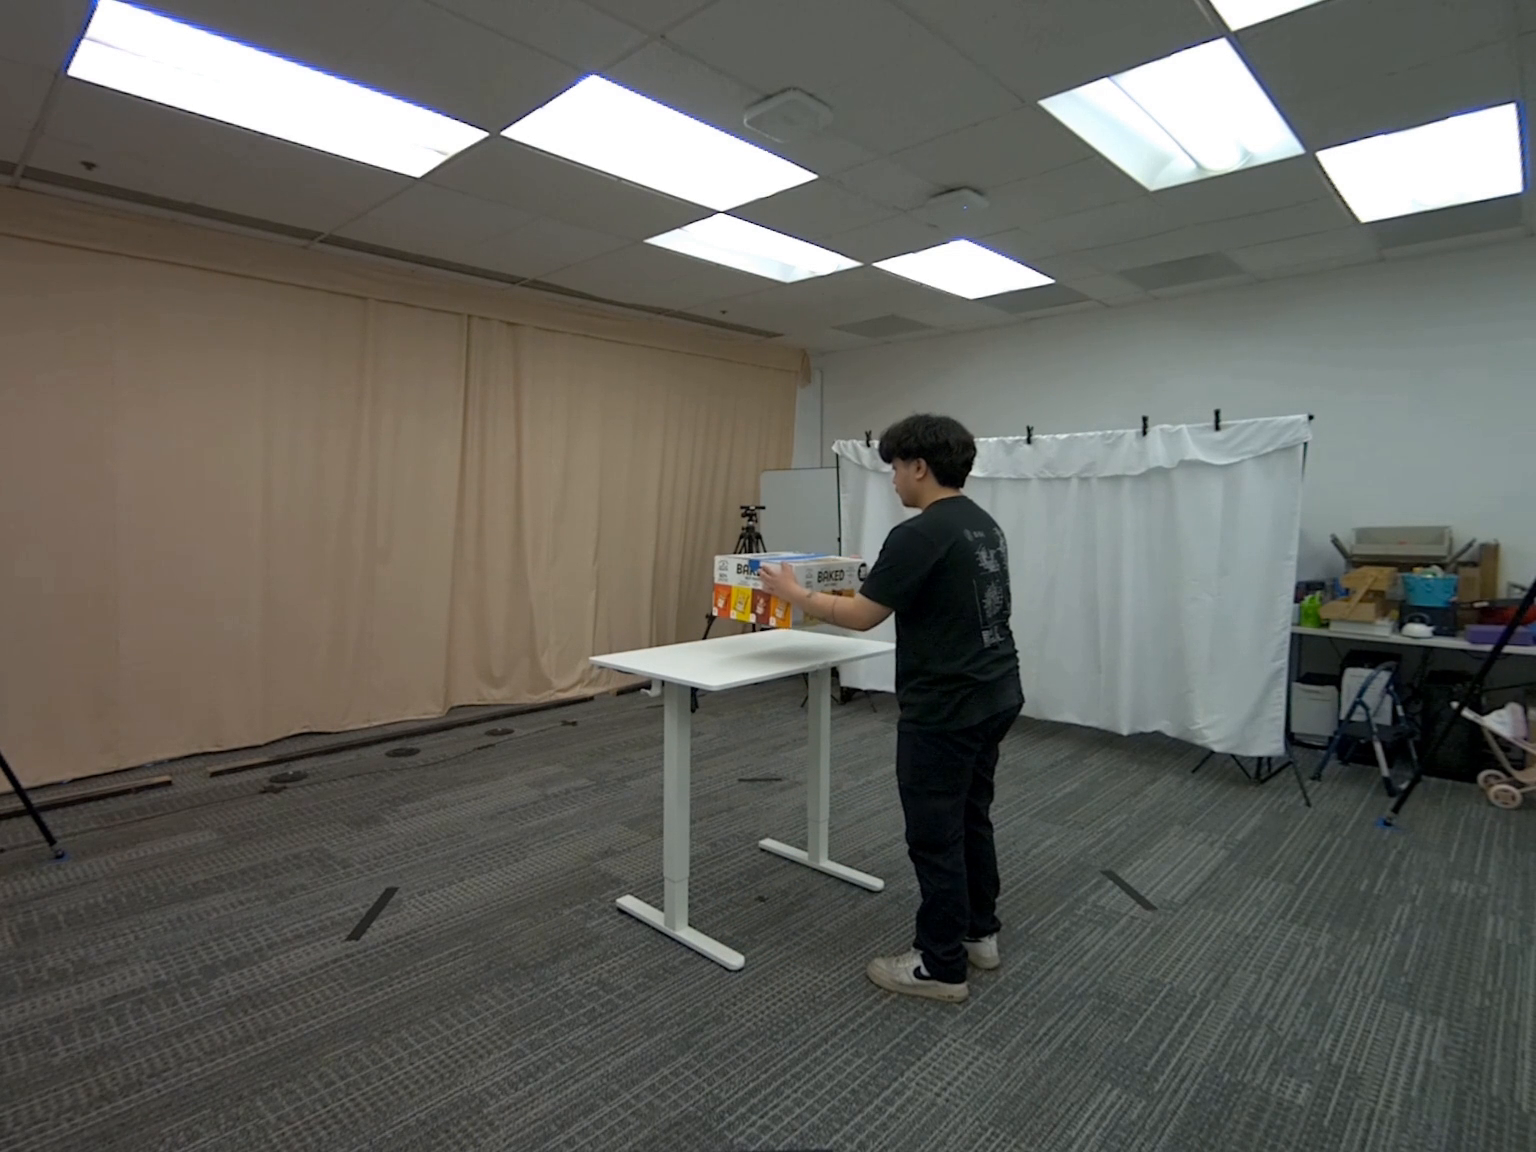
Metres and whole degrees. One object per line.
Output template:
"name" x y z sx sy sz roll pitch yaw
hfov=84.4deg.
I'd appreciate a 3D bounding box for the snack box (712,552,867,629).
"snack box" 0.081 0.044 2.852 0.352 0.205 0.393 8 8 41
